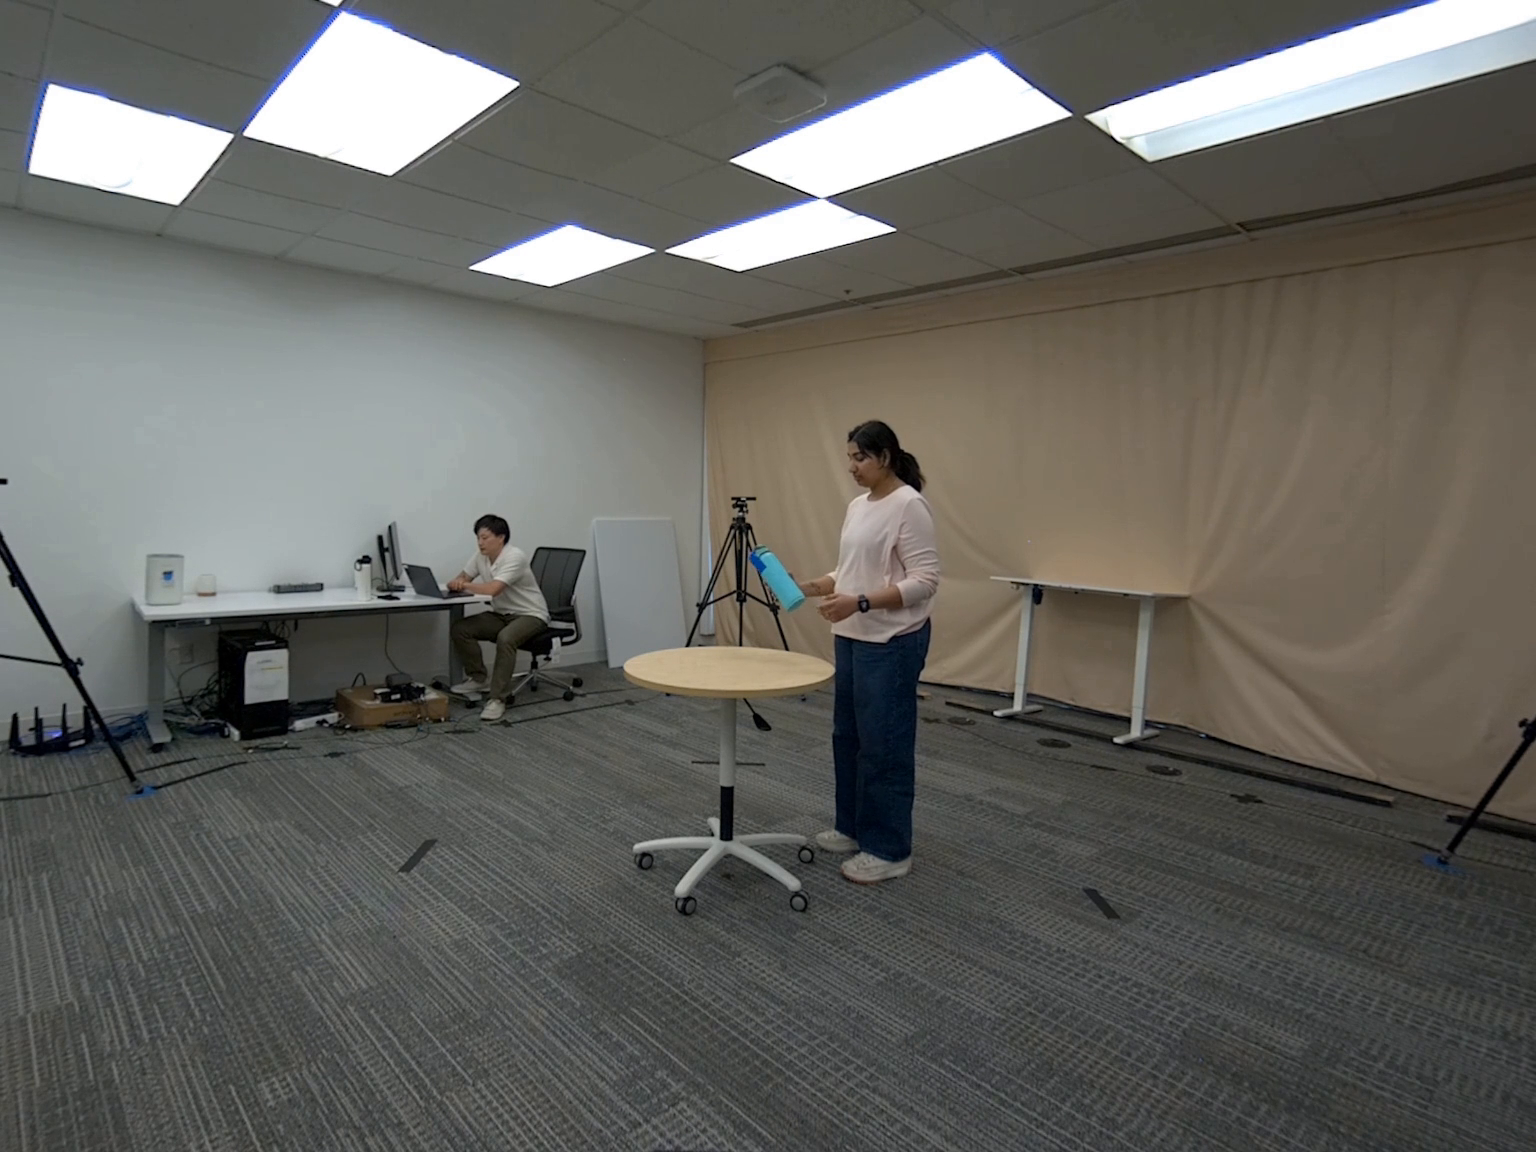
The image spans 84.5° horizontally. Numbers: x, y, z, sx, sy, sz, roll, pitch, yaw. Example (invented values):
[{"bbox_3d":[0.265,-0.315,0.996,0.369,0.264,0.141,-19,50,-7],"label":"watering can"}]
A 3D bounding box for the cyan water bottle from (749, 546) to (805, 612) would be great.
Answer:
[{"bbox_3d":[0.027,0.002,3.204,0.092,0.288,0.091,-32,-17,-12],"label":"cyan water bottle"}]
